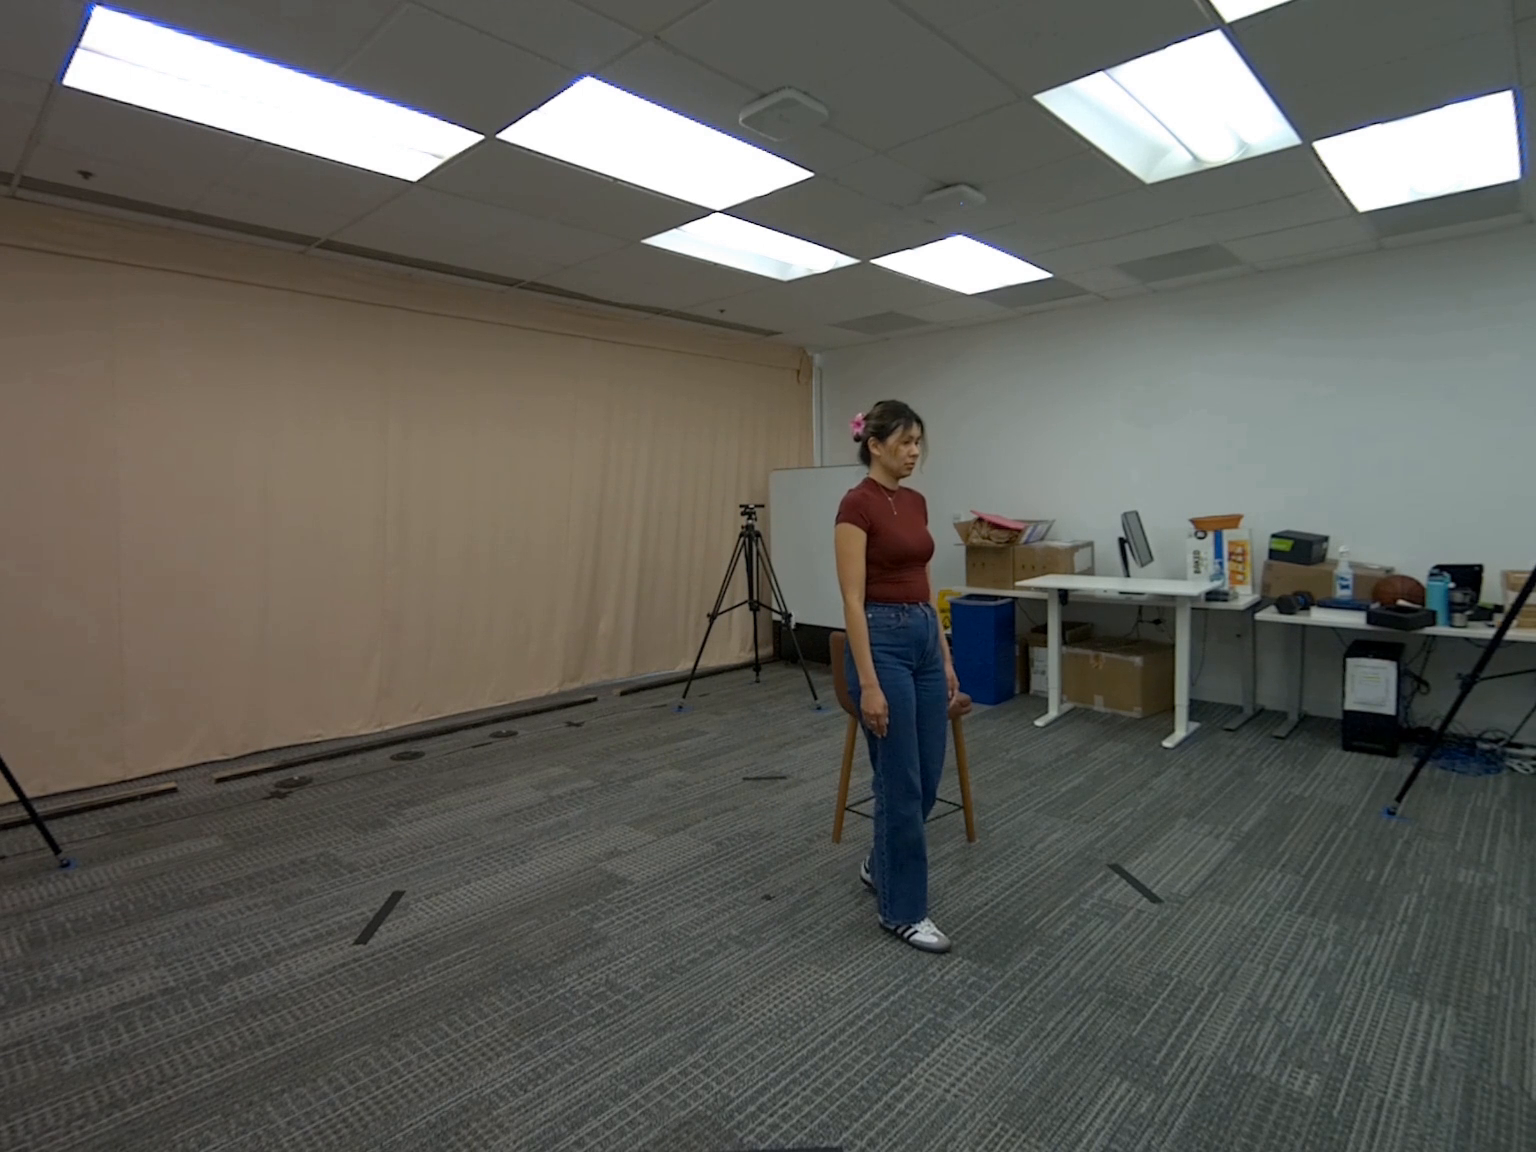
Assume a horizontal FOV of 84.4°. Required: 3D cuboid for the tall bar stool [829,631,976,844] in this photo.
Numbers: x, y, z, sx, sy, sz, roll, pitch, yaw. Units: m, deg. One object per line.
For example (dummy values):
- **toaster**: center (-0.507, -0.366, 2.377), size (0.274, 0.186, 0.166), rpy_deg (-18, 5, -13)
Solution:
- **tall bar stool**: center (0.543, 0.653, 3.437), size (0.454, 0.887, 0.471), rpy_deg (-6, 5, -42)
